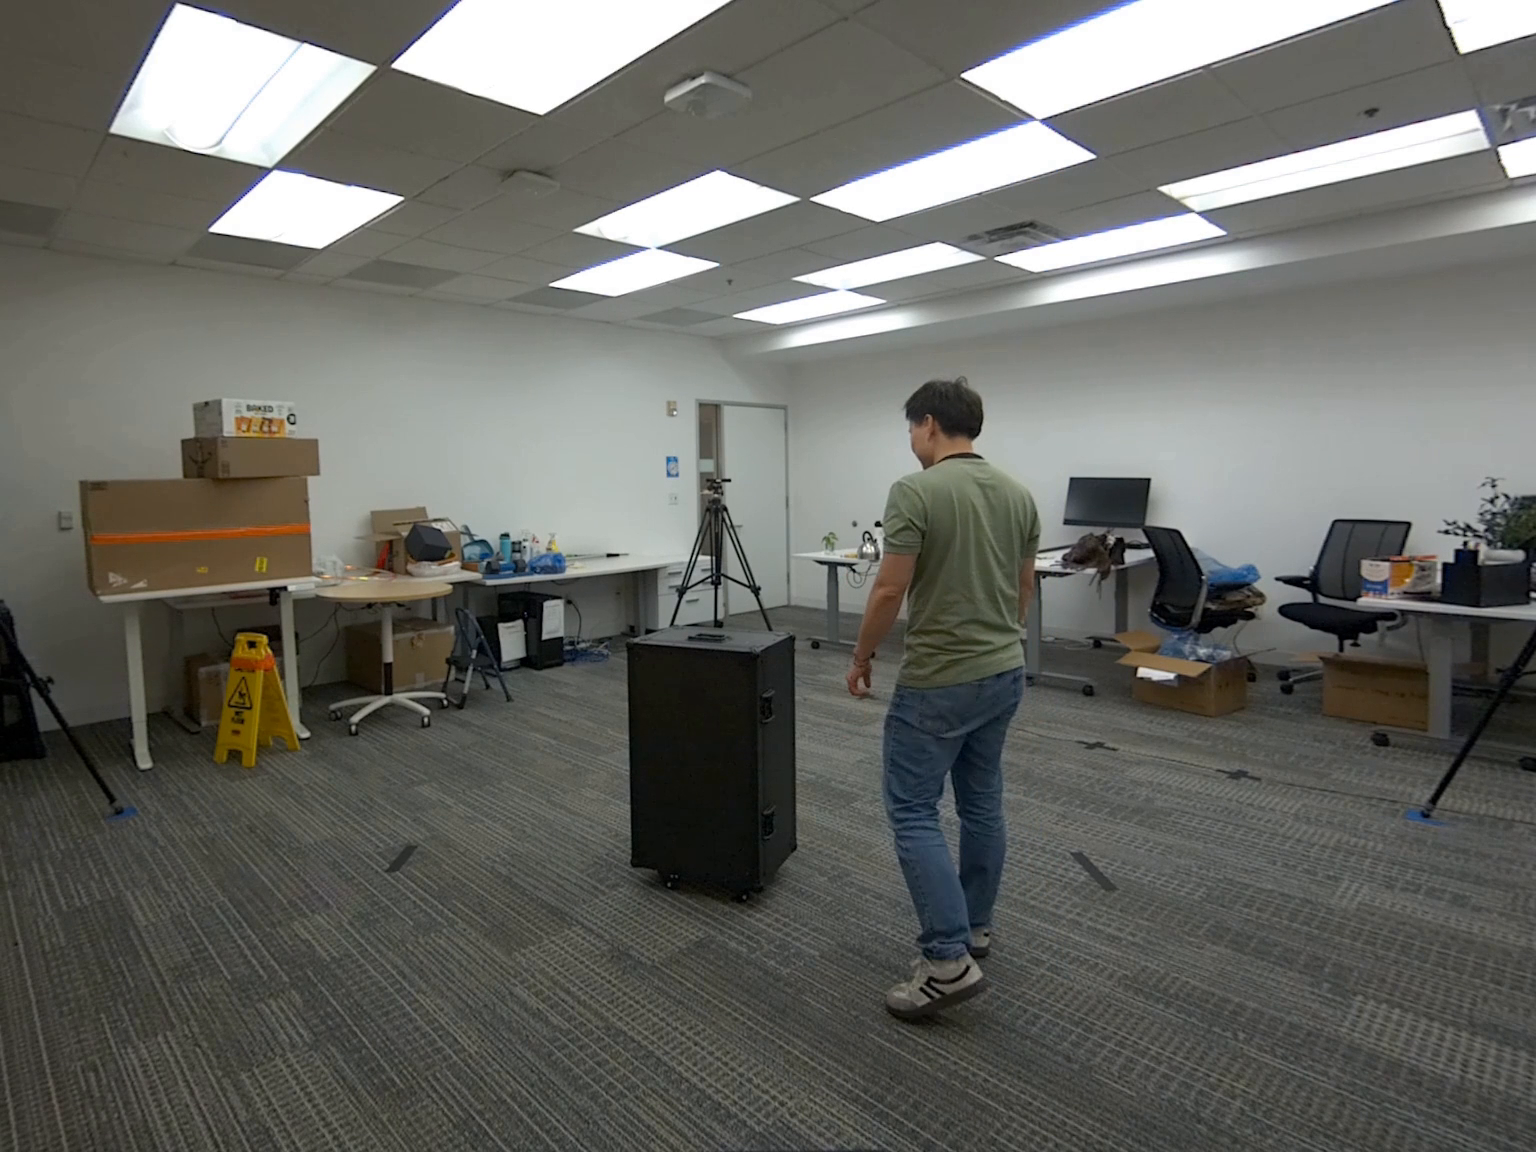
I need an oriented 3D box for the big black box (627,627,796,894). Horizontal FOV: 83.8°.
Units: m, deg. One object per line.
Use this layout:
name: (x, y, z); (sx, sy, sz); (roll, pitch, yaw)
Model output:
big black box: (-0.187, 0.632, 2.991); (0.533, 0.859, 0.389); (1, 4, 24)
